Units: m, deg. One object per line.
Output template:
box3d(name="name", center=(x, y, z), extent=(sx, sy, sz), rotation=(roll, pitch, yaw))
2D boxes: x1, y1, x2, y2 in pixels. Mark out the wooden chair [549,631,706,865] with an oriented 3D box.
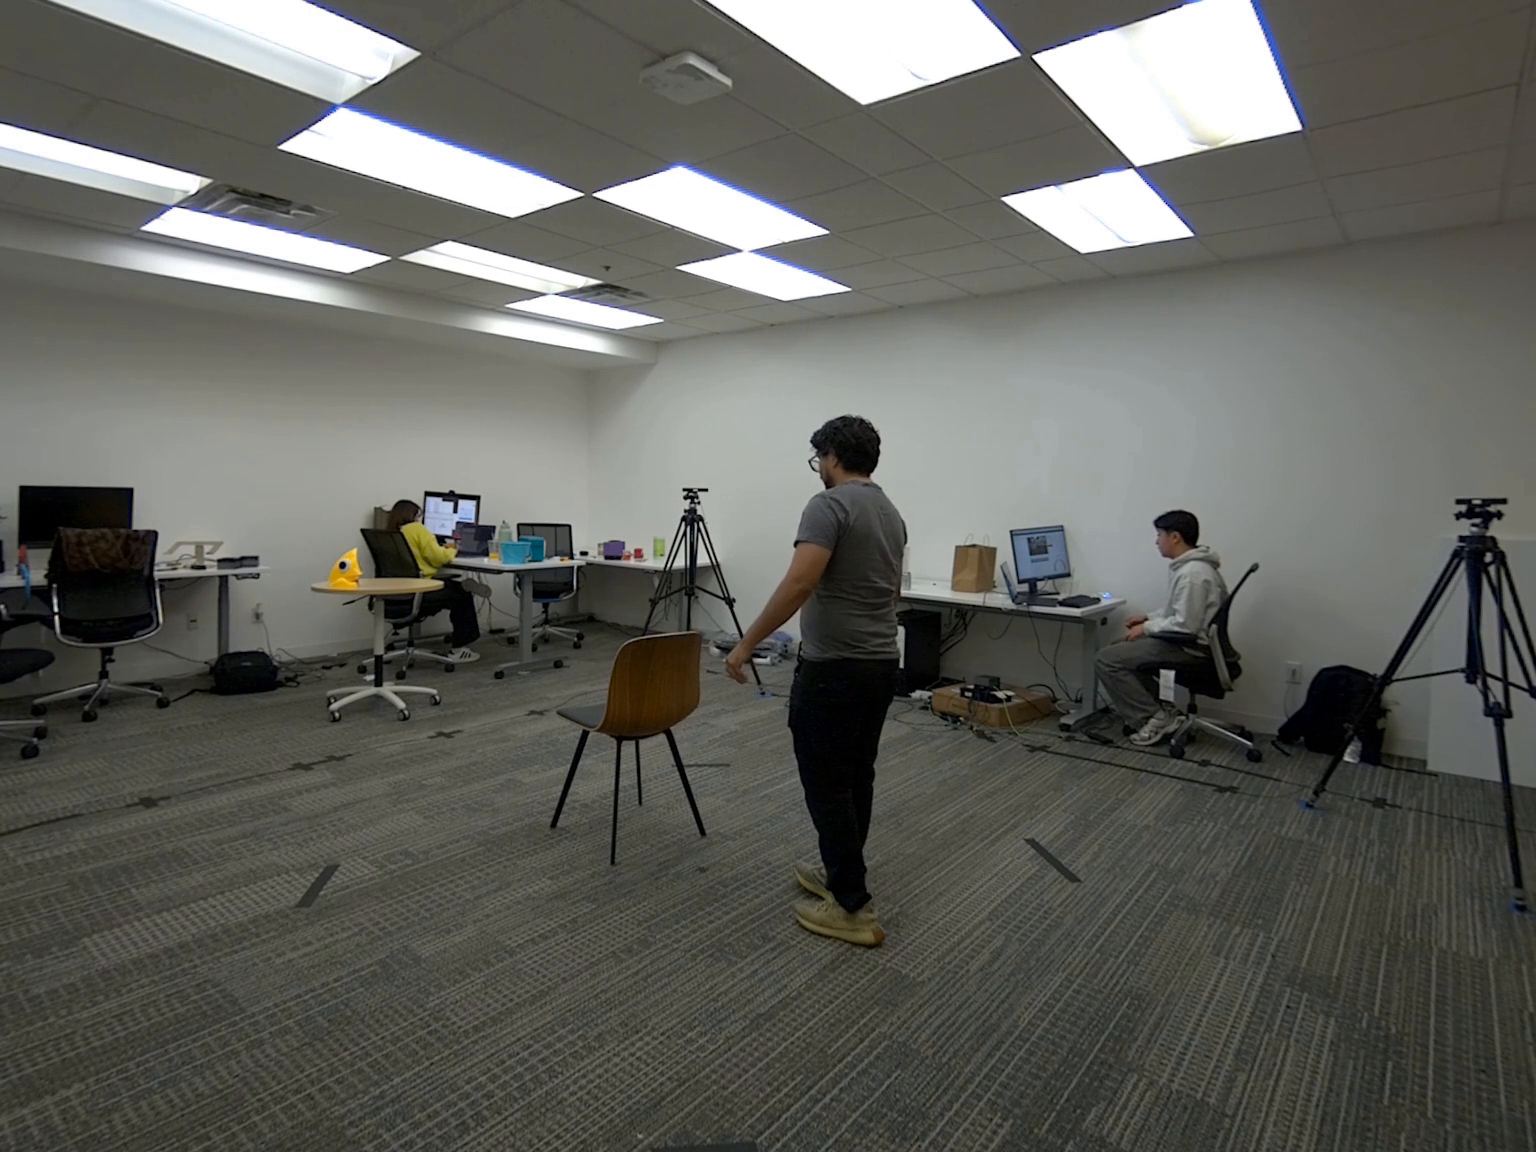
box3d(name="wooden chair", center=(-0.573, 0.607, 3.421), extent=(0.463, 0.873, 0.542), rotation=(-1, 8, -42))
